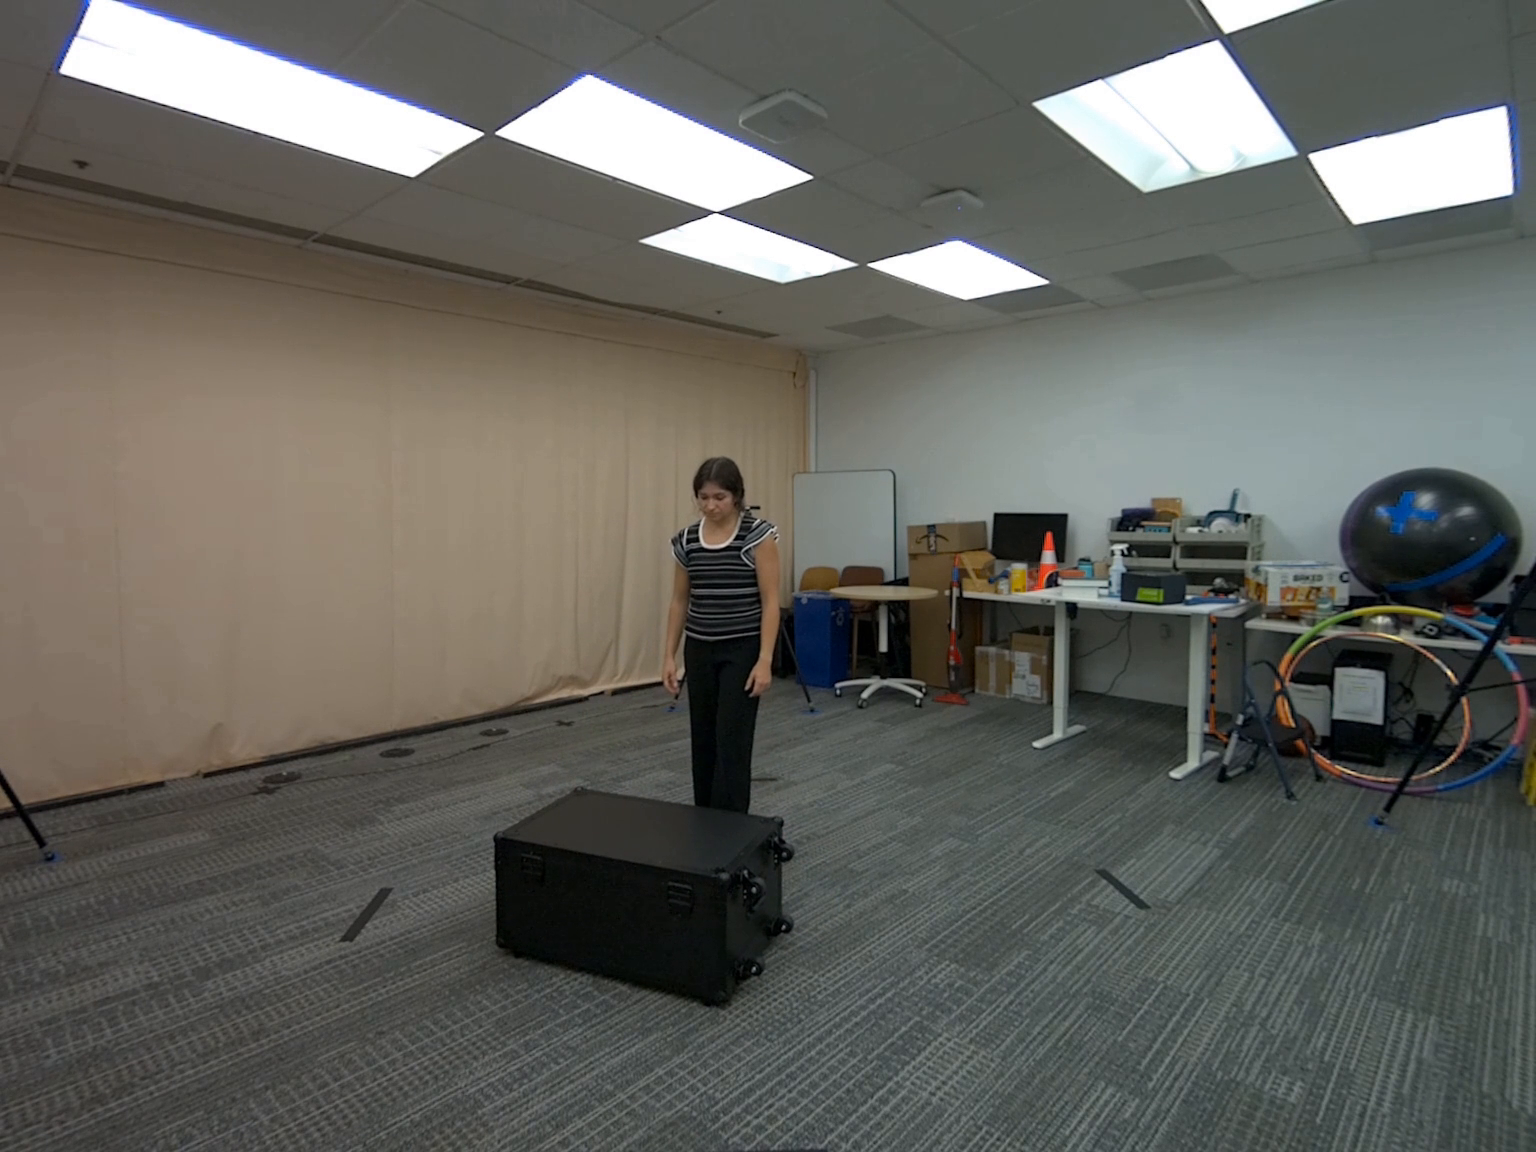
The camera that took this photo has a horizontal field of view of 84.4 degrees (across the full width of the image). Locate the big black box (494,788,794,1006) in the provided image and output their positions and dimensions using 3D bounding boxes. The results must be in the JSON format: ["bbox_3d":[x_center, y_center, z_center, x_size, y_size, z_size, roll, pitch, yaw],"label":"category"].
[{"bbox_3d":[-0.367,0.983,2.663,0.881,0.395,0.510,1,3,22],"label":"big black box"}]
